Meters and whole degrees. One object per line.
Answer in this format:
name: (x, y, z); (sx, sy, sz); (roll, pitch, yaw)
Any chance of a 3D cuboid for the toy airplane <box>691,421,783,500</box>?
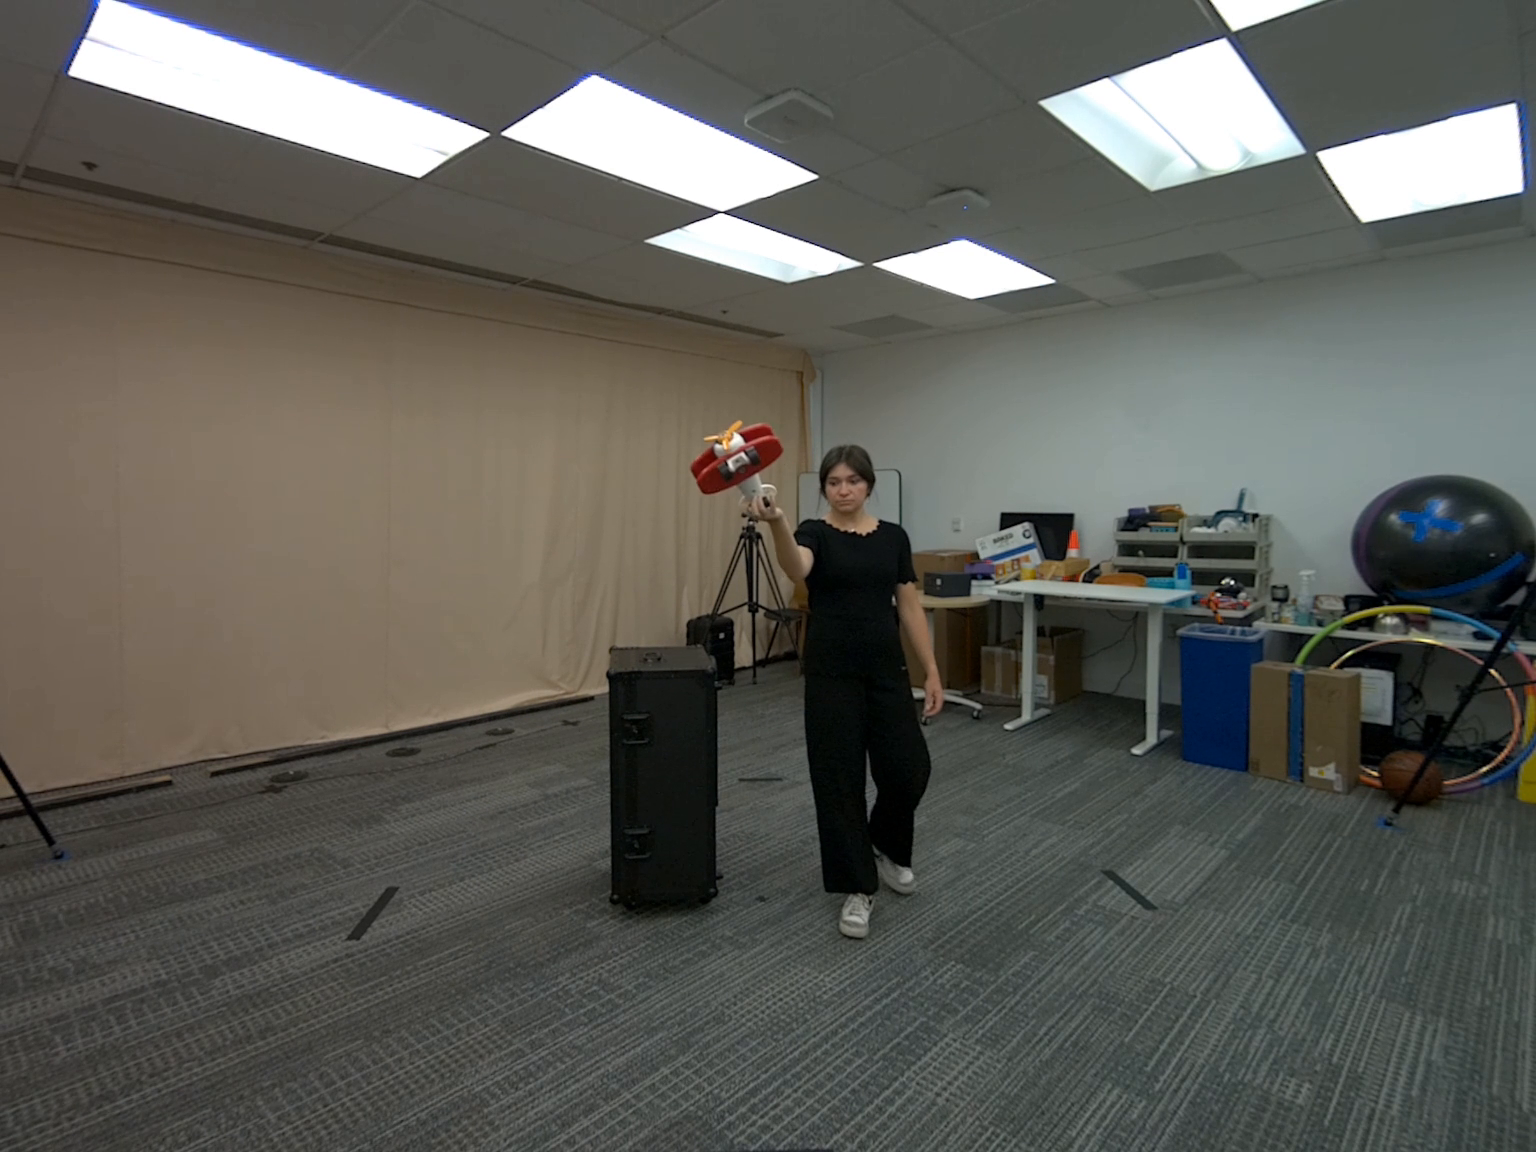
toy airplane: (-0.084, -0.284, 2.369); (0.247, 0.256, 0.161); (-9, 50, -19)
